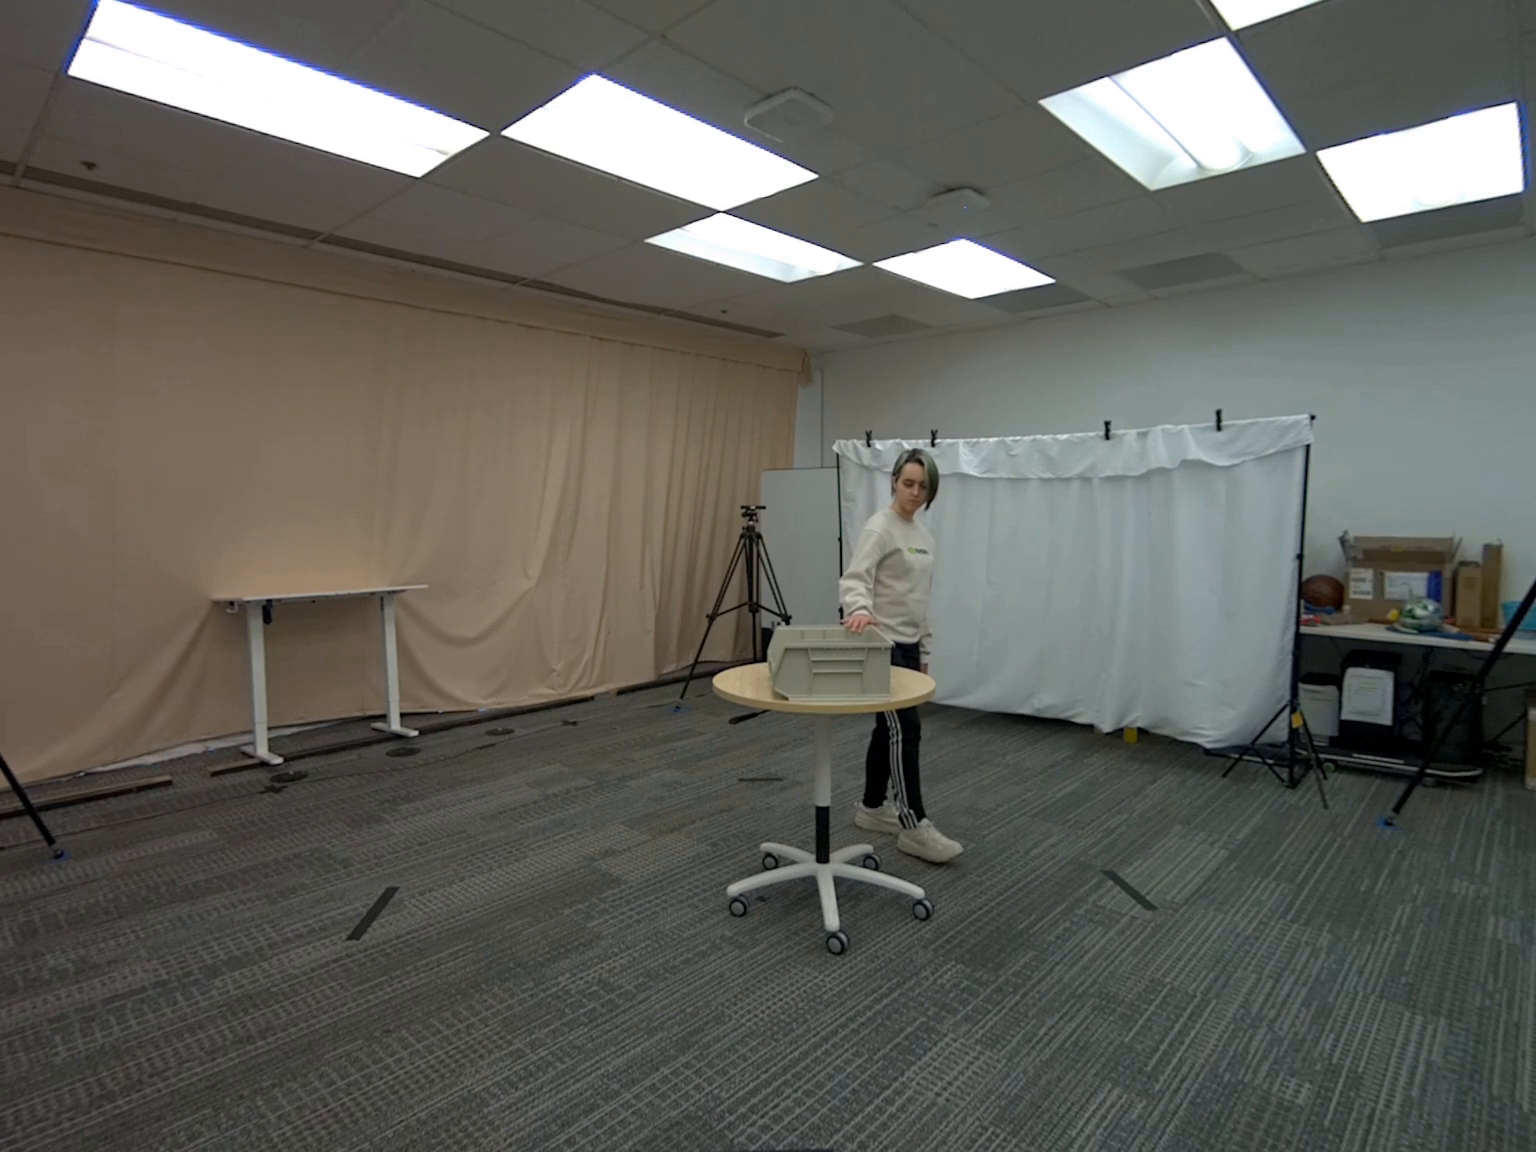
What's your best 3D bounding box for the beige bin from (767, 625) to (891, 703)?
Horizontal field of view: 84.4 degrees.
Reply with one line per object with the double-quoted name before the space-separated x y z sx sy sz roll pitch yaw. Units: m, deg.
"beige bin" 0.193 0.280 2.799 0.378 0.188 0.423 1 4 0
